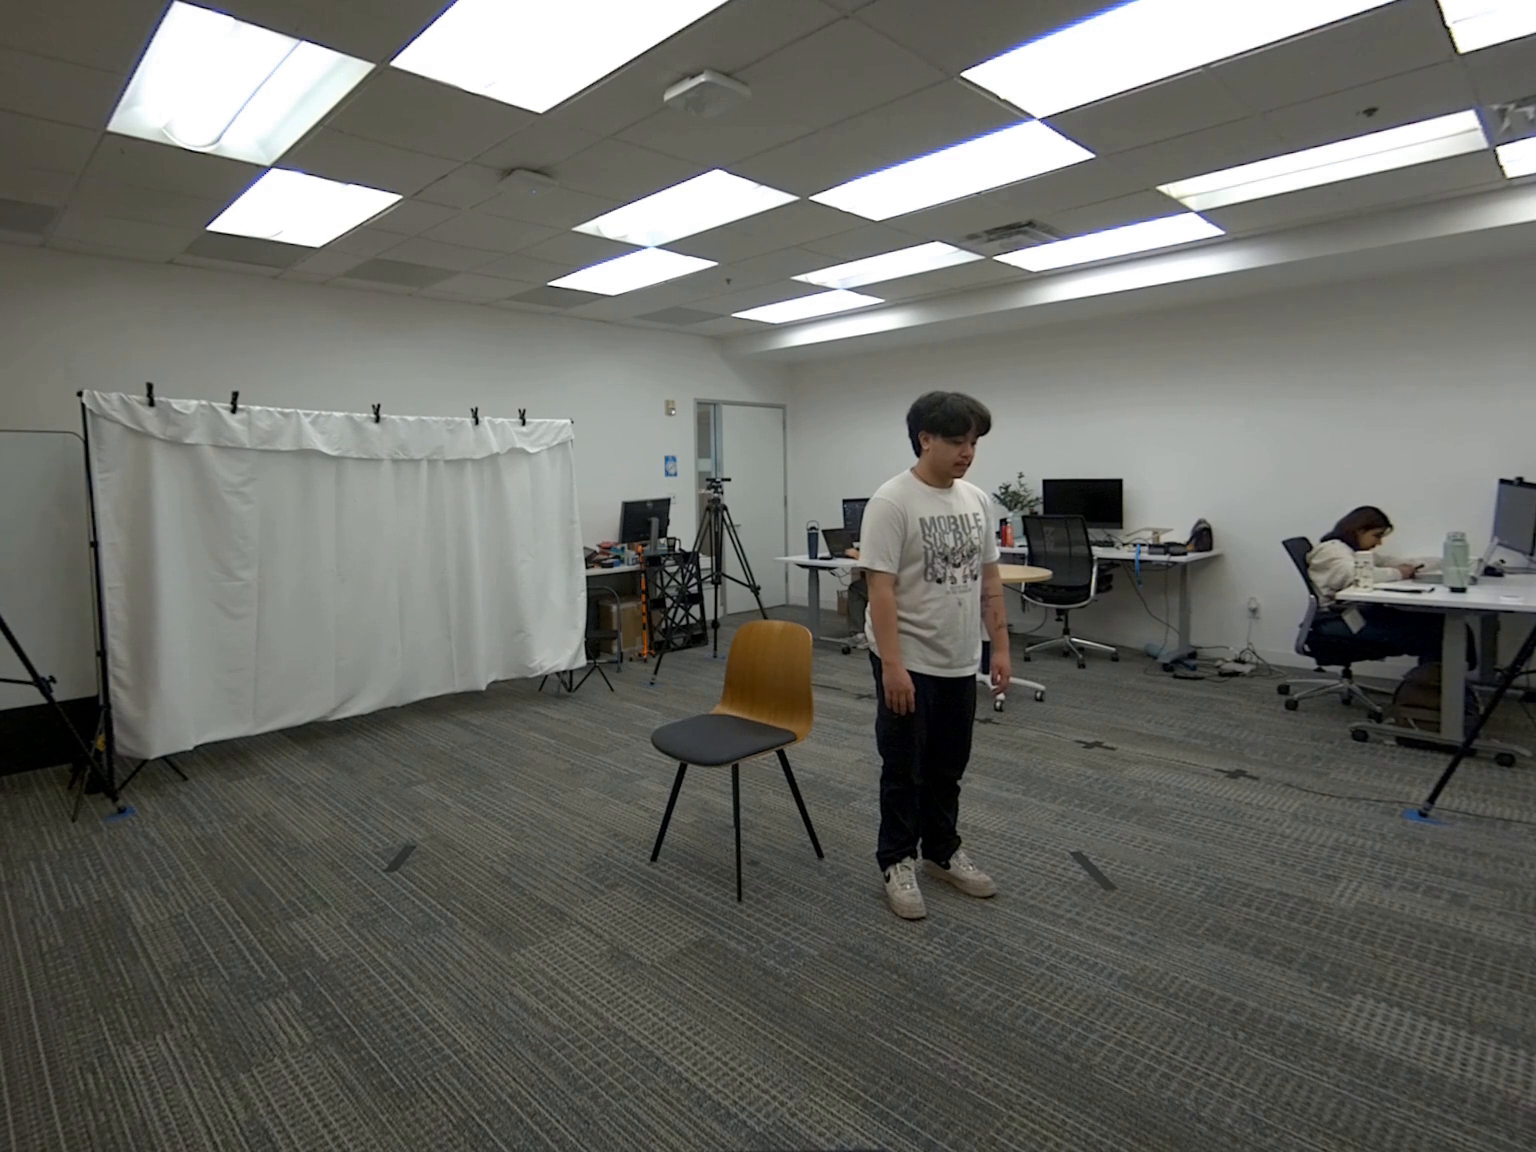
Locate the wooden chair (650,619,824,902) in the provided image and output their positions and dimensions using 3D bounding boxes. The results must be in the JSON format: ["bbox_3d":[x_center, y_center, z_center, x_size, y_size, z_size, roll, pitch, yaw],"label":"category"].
[{"bbox_3d":[-0.126,0.619,3.095,0.493,0.877,0.508,4,2,43],"label":"wooden chair"}]
